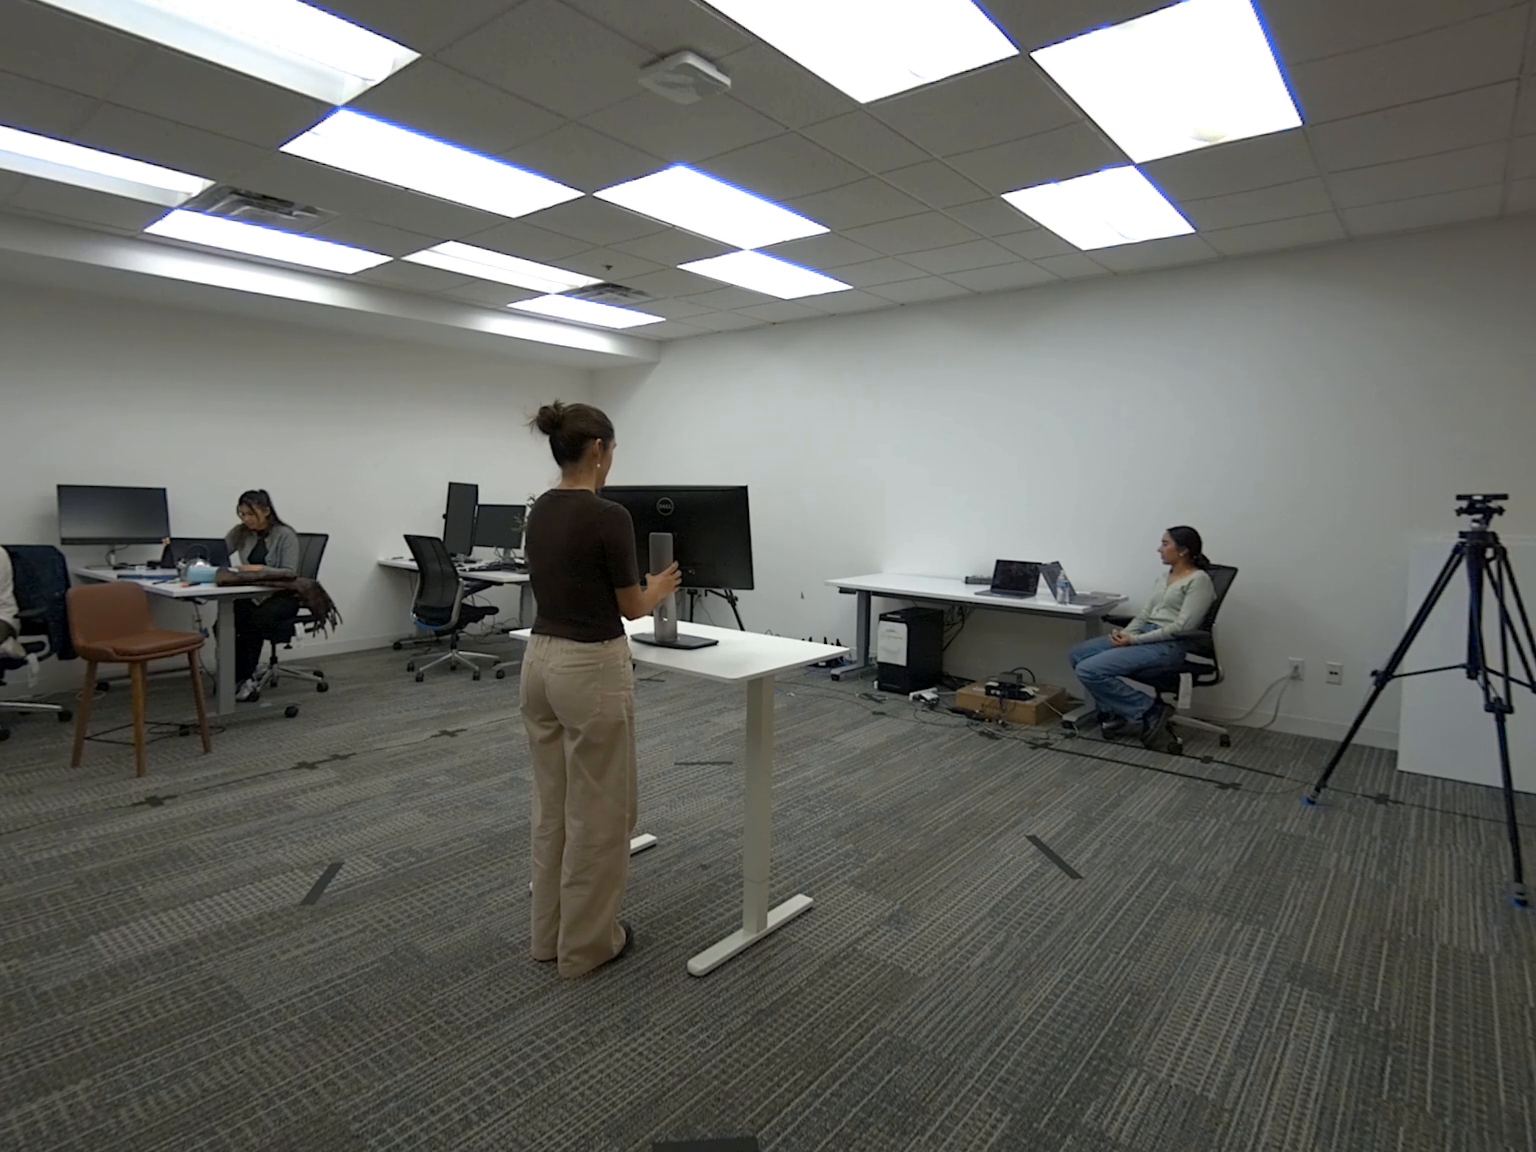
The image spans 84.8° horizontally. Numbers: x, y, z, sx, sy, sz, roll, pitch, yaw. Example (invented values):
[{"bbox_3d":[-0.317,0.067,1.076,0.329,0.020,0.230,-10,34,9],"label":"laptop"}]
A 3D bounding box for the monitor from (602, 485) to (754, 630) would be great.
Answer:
[{"bbox_3d":[-0.328,-0.037,2.767,0.547,0.520,0.185,1,4,13],"label":"monitor"}]
